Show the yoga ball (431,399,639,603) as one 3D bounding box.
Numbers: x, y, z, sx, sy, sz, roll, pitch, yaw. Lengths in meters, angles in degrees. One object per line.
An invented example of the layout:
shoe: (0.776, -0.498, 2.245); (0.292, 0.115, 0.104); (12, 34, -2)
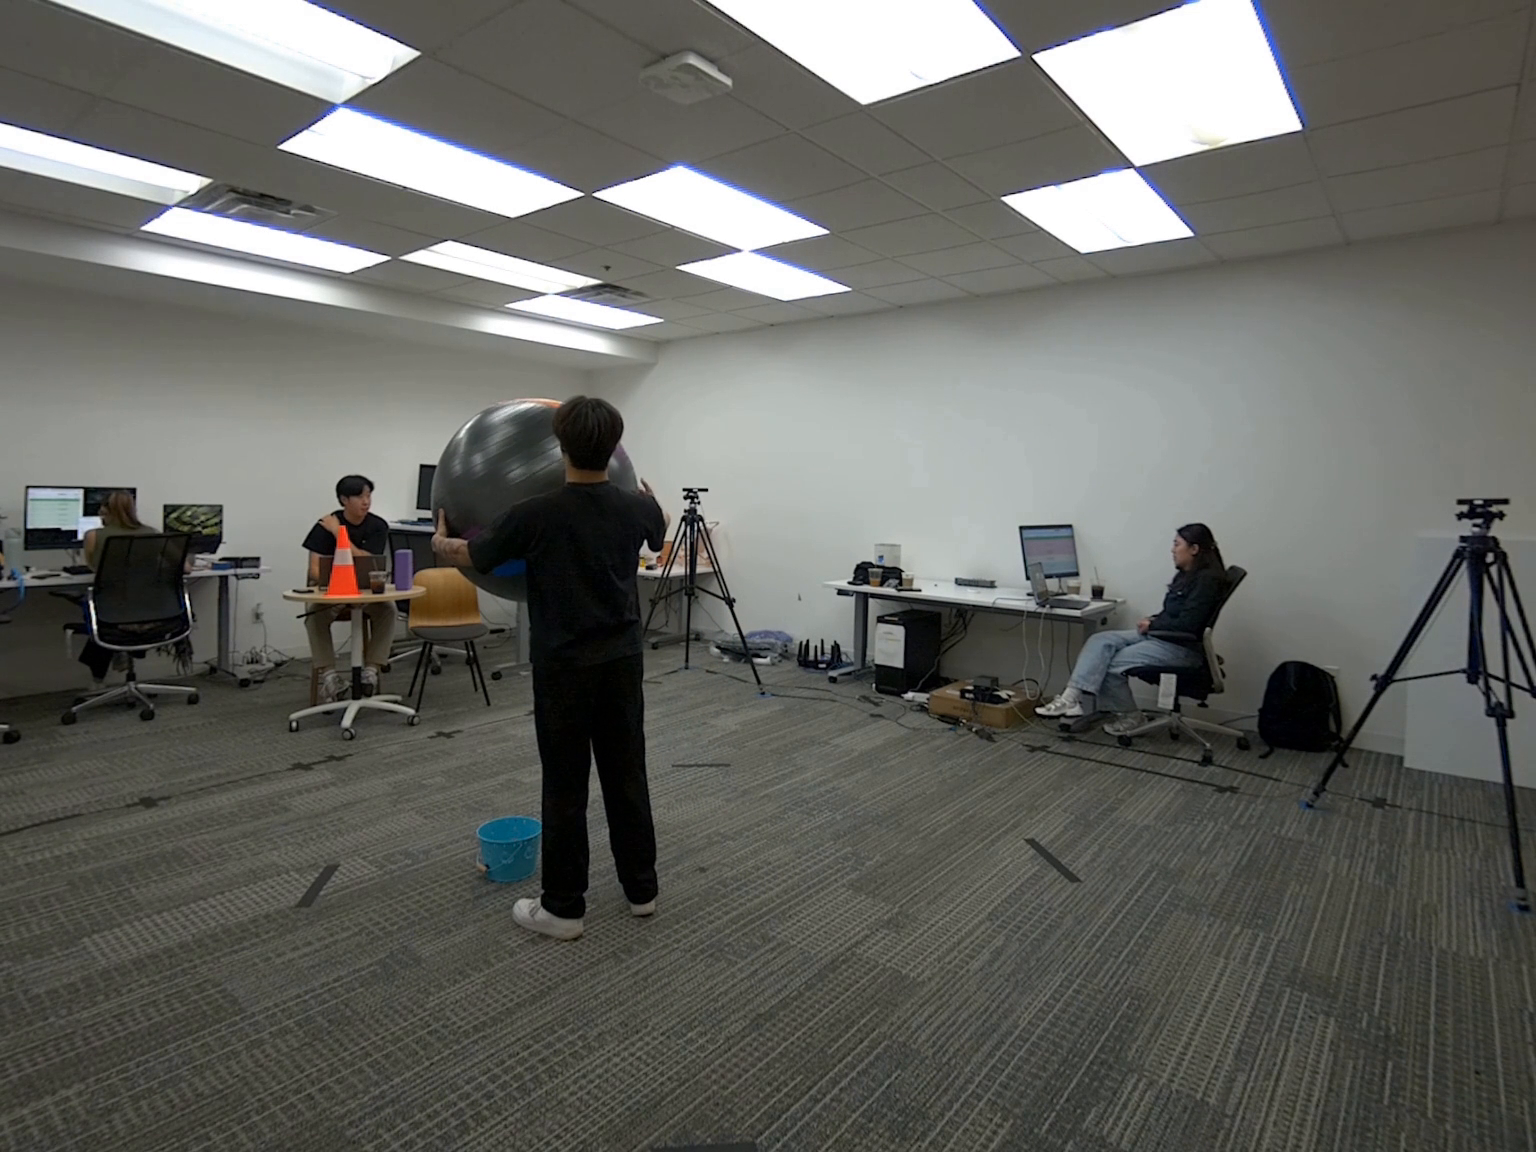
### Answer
yoga ball: (-0.892, -0.278, 3.183); (0.757, 0.756, 0.762); (1, 4, -2)
